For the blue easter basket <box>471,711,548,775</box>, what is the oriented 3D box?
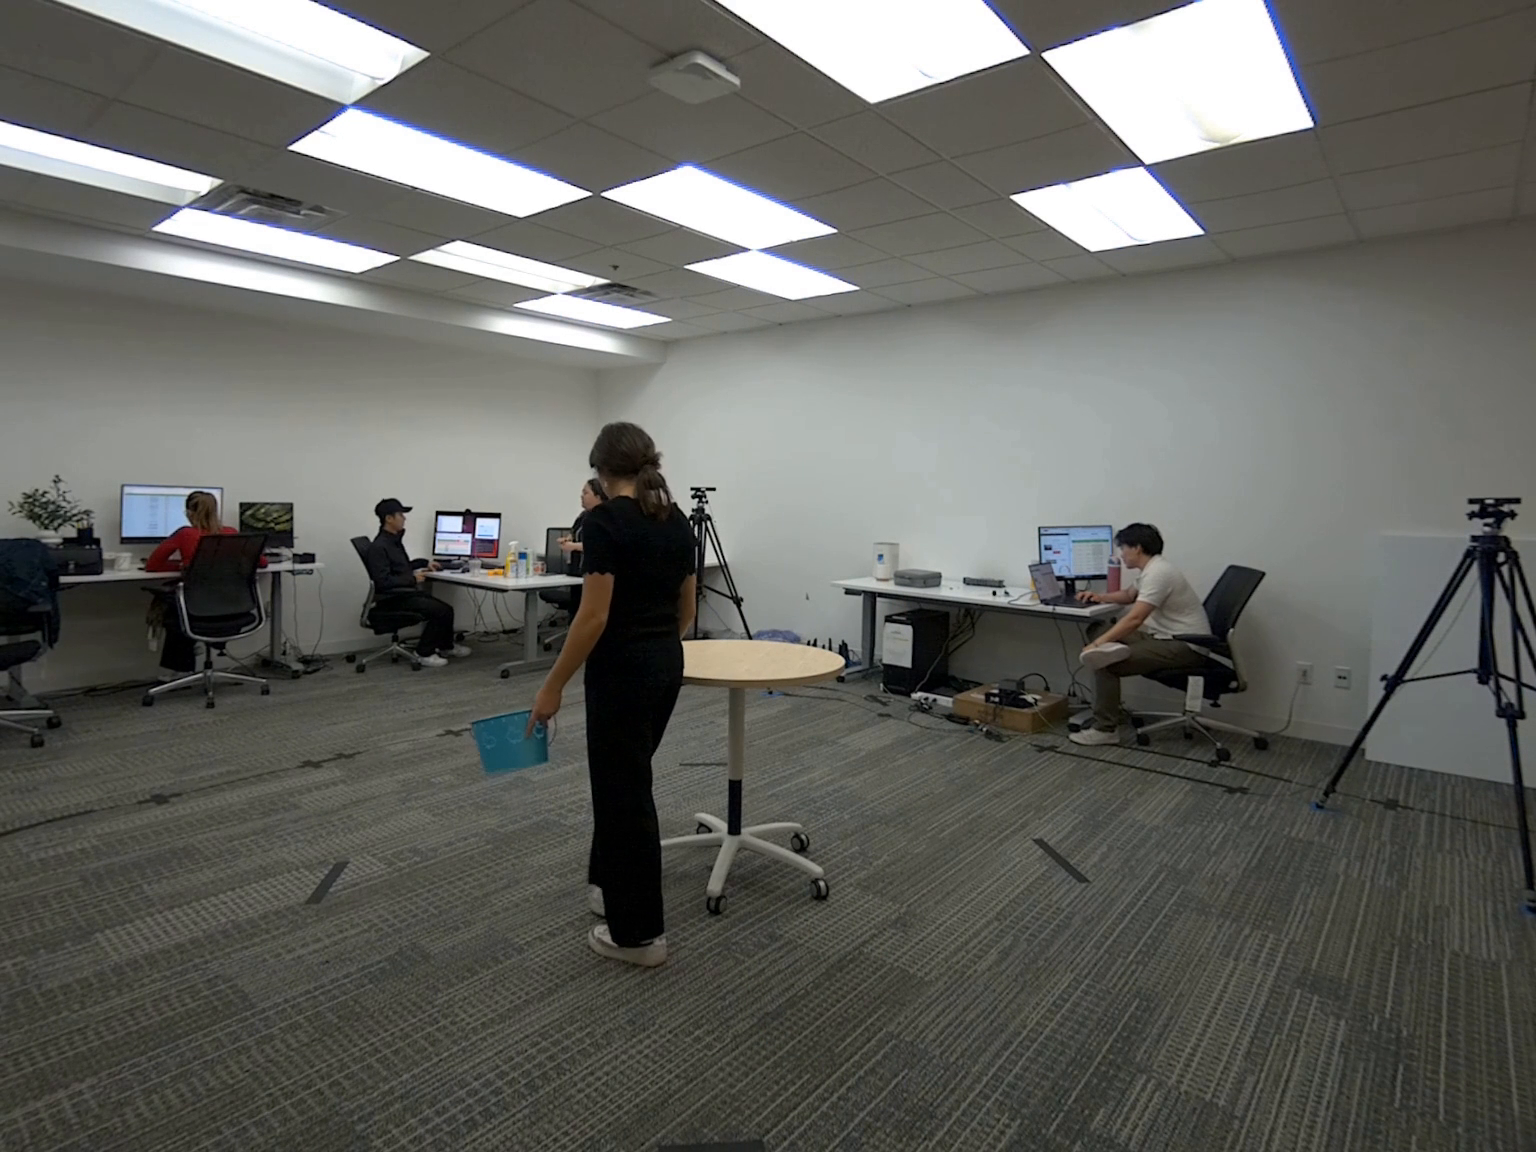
[{"bbox_3d":[-0.739,0.473,2.437,0.243,0.158,0.241,-11,-10,-4],"label":"blue easter basket"}]
